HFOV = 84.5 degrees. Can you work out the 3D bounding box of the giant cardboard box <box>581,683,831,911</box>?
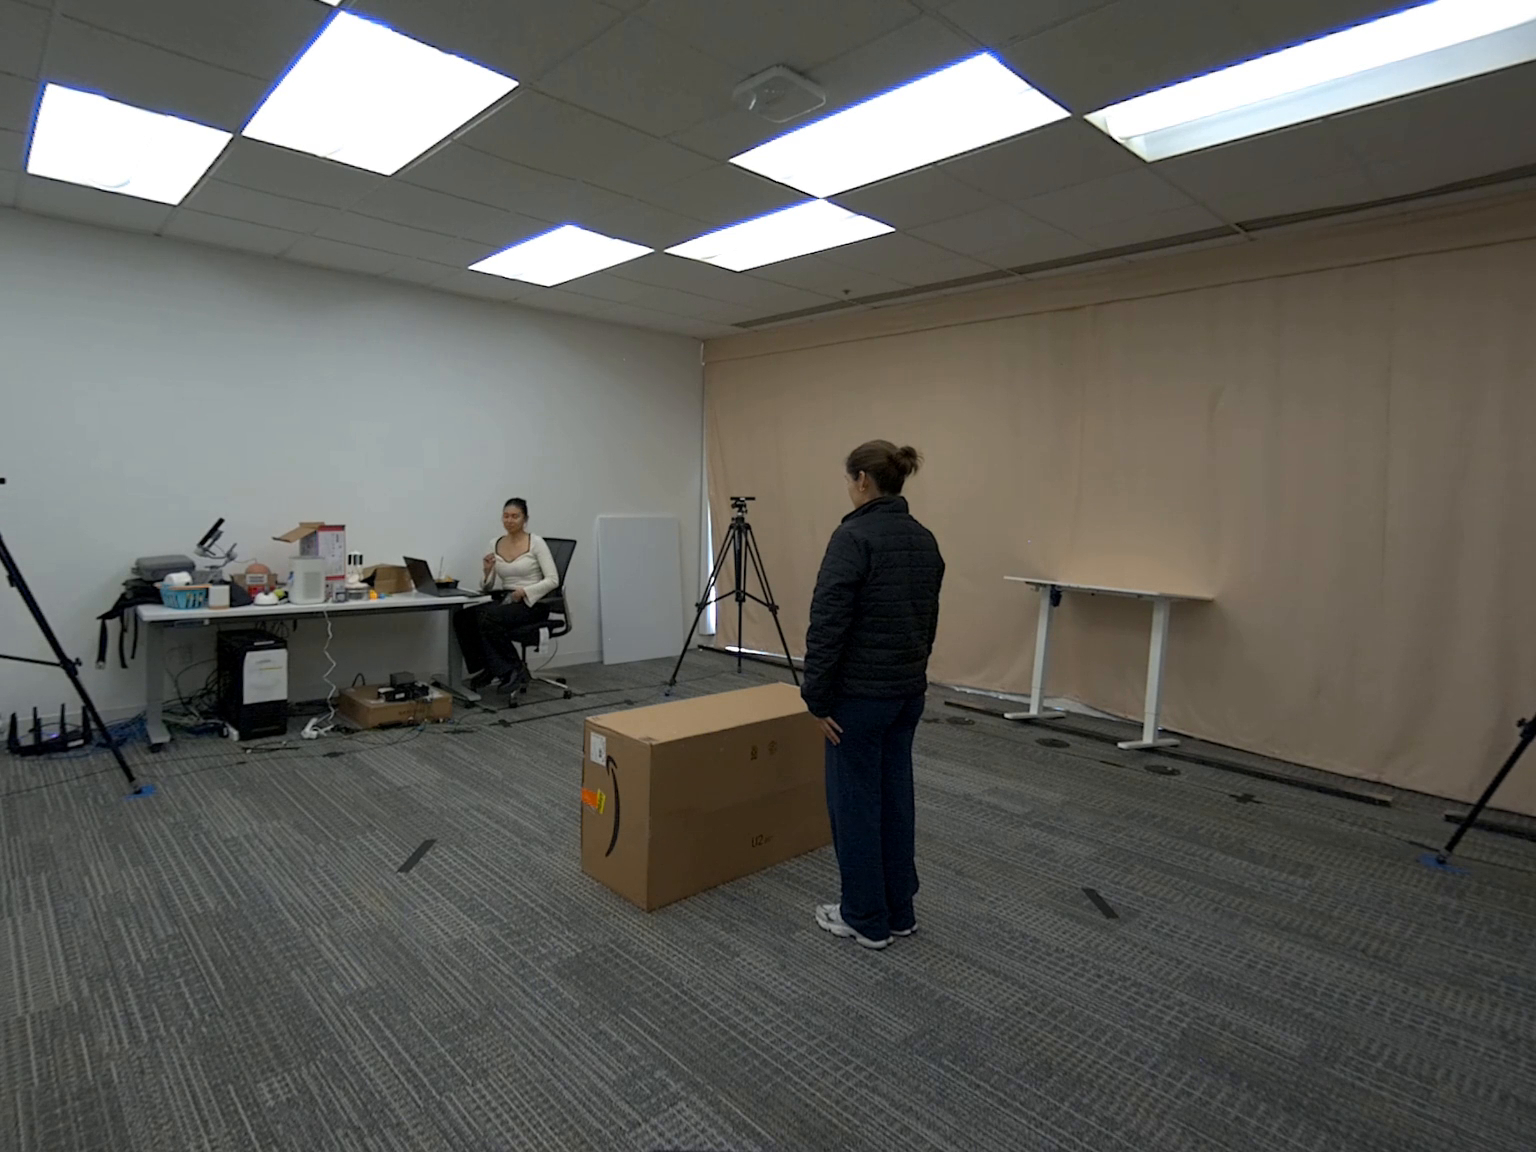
[{"bbox_3d":[-0.183,0.805,3.280,1.003,0.582,0.458,-2,7,-42],"label":"giant cardboard box"}]
